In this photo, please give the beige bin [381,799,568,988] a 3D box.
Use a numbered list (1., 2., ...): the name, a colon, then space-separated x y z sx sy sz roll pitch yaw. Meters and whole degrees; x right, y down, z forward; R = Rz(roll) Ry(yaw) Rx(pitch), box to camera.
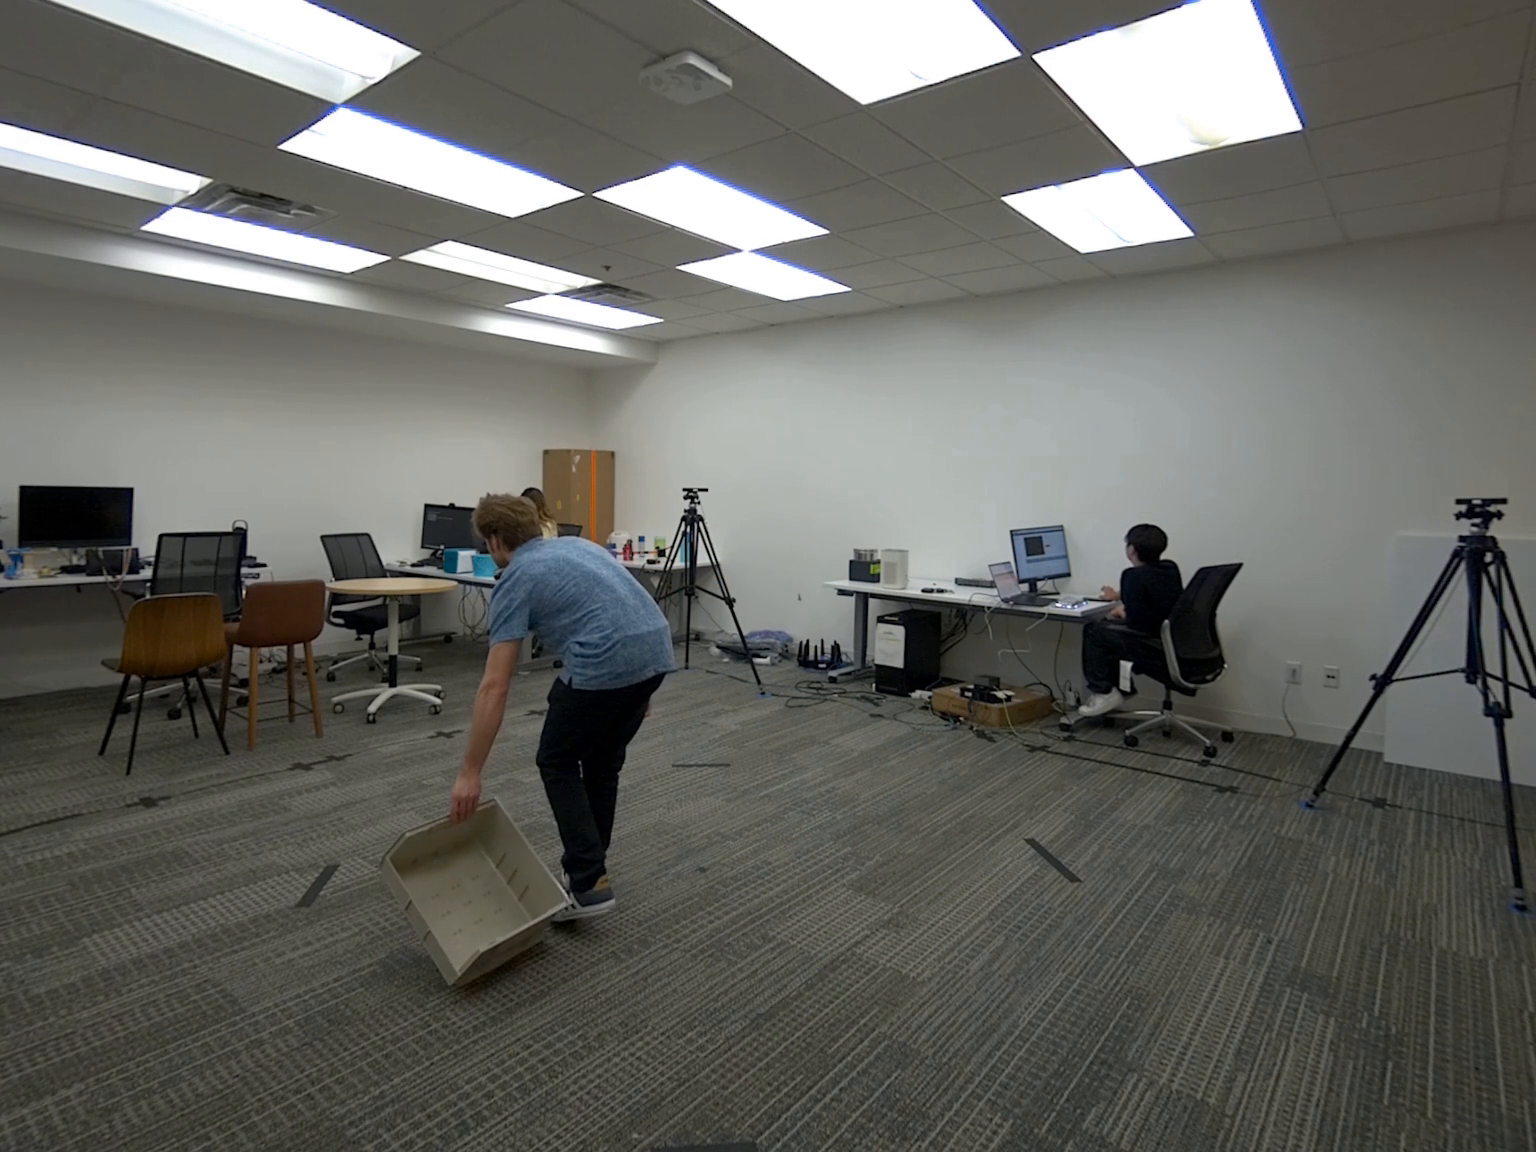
1. beige bin: -0.881 0.929 2.512 0.436 0.188 0.367 41 22 24
